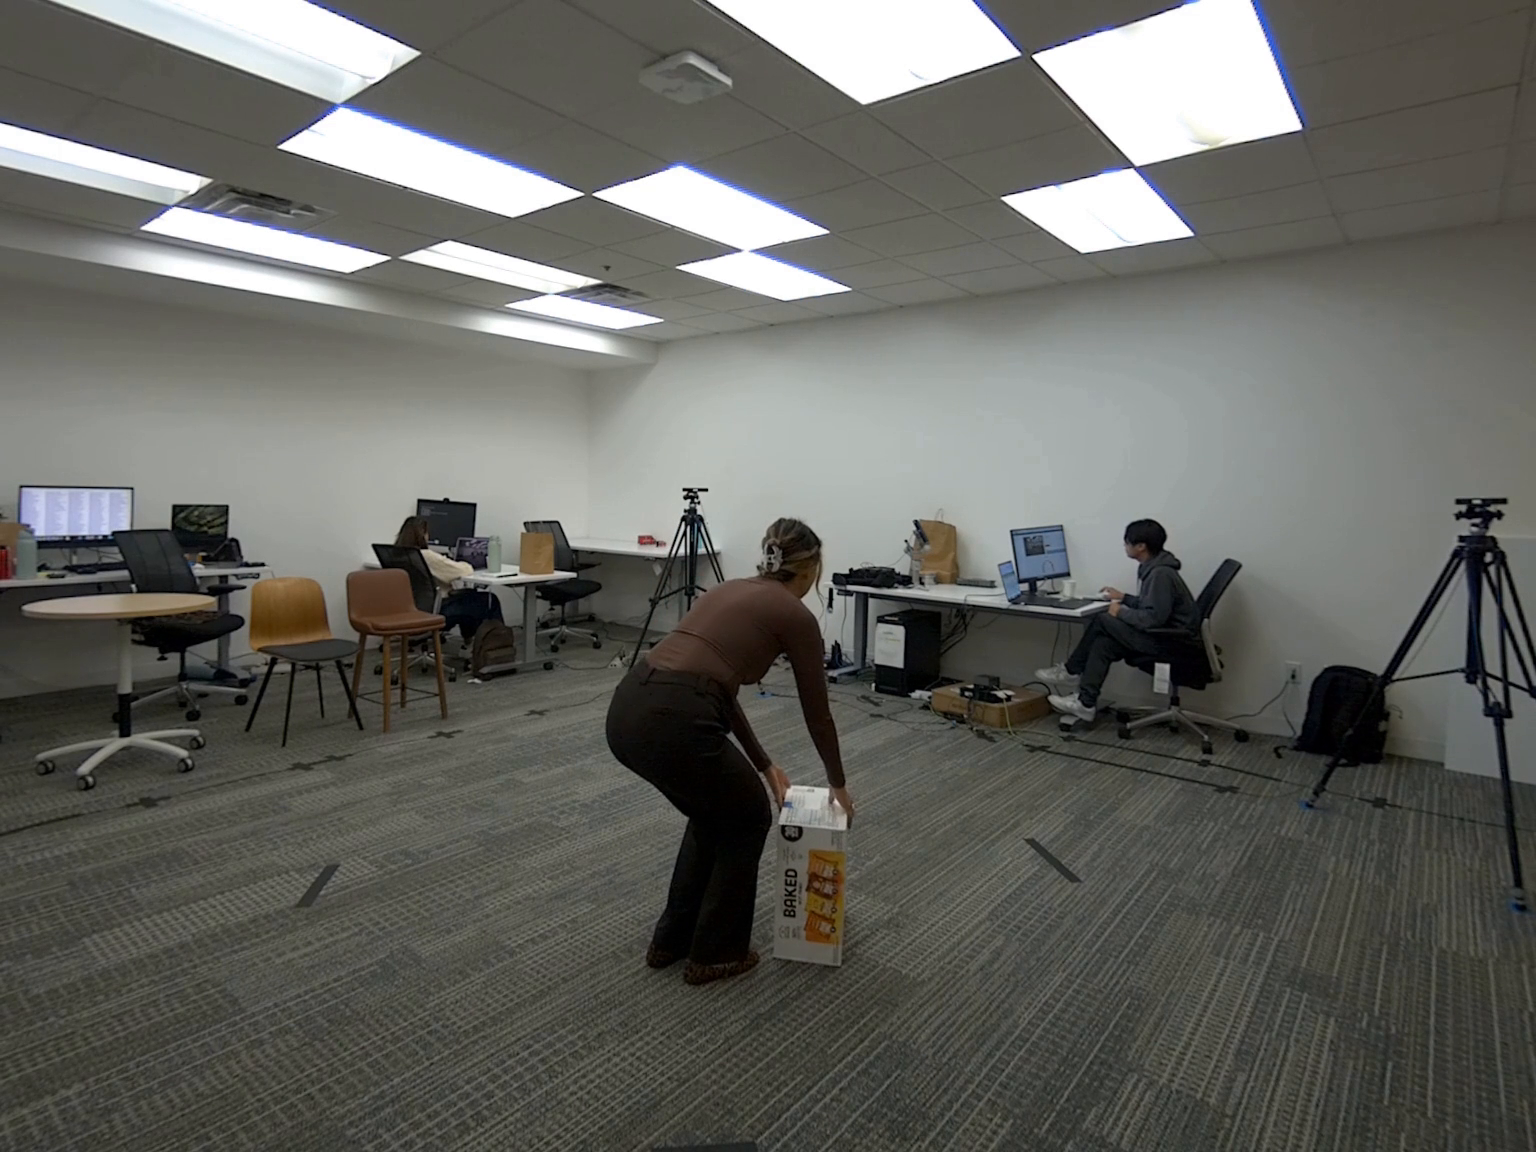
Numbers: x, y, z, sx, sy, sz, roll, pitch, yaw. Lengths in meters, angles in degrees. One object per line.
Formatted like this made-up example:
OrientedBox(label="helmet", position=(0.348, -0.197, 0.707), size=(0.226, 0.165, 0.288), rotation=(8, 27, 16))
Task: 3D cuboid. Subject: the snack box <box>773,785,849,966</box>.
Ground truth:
OrientedBox(label="snack box", position=(0.134, 0.915, 2.658), size=(0.208, 0.404, 0.338), rotation=(2, 4, 7))
